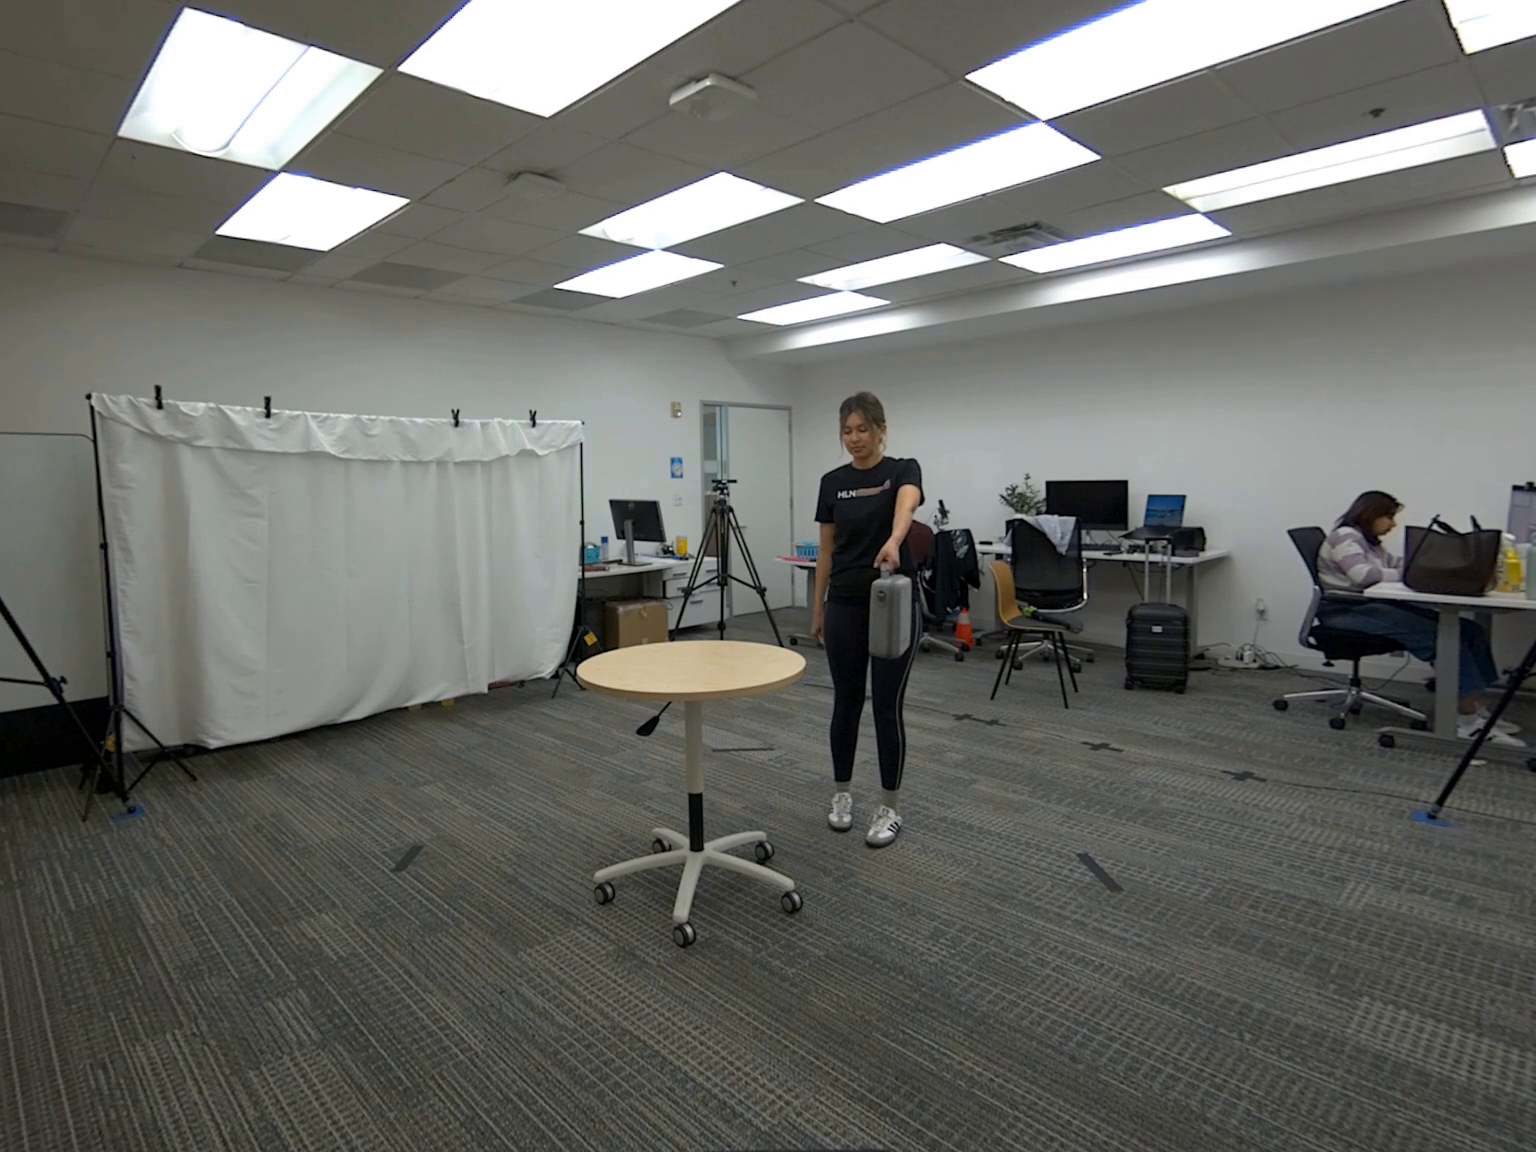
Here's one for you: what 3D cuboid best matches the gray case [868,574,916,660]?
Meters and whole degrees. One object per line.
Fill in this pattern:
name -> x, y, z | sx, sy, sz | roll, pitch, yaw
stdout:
gray case -> 0.404, 0.128, 2.839 | 0.106, 0.260, 0.253 | 0, 3, 15
